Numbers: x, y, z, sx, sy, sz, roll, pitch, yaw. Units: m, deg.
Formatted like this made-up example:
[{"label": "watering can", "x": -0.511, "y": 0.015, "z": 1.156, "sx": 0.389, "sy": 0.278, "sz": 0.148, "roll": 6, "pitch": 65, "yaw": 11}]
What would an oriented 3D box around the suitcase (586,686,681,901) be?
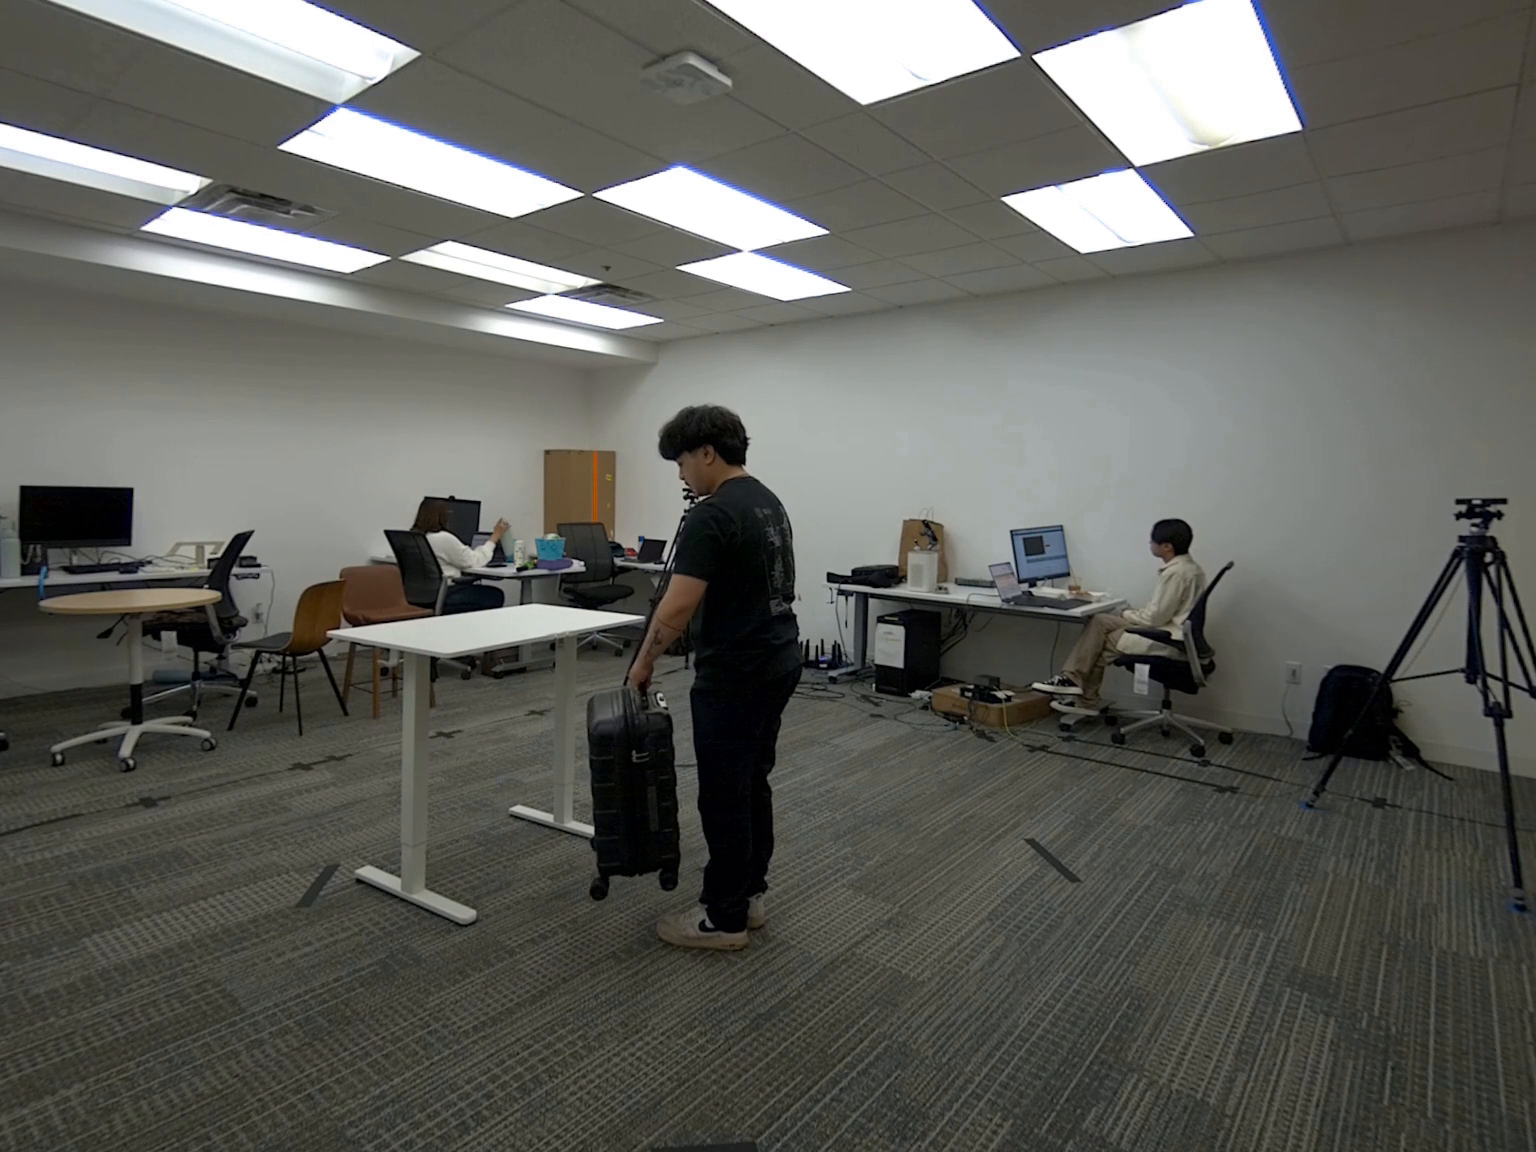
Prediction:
[{"label": "suitcase", "x": -0.424, "y": 0.638, "z": 2.631, "sx": 0.246, "sy": 0.546, "sz": 0.381, "roll": -4, "pitch": 7, "yaw": -10}]
